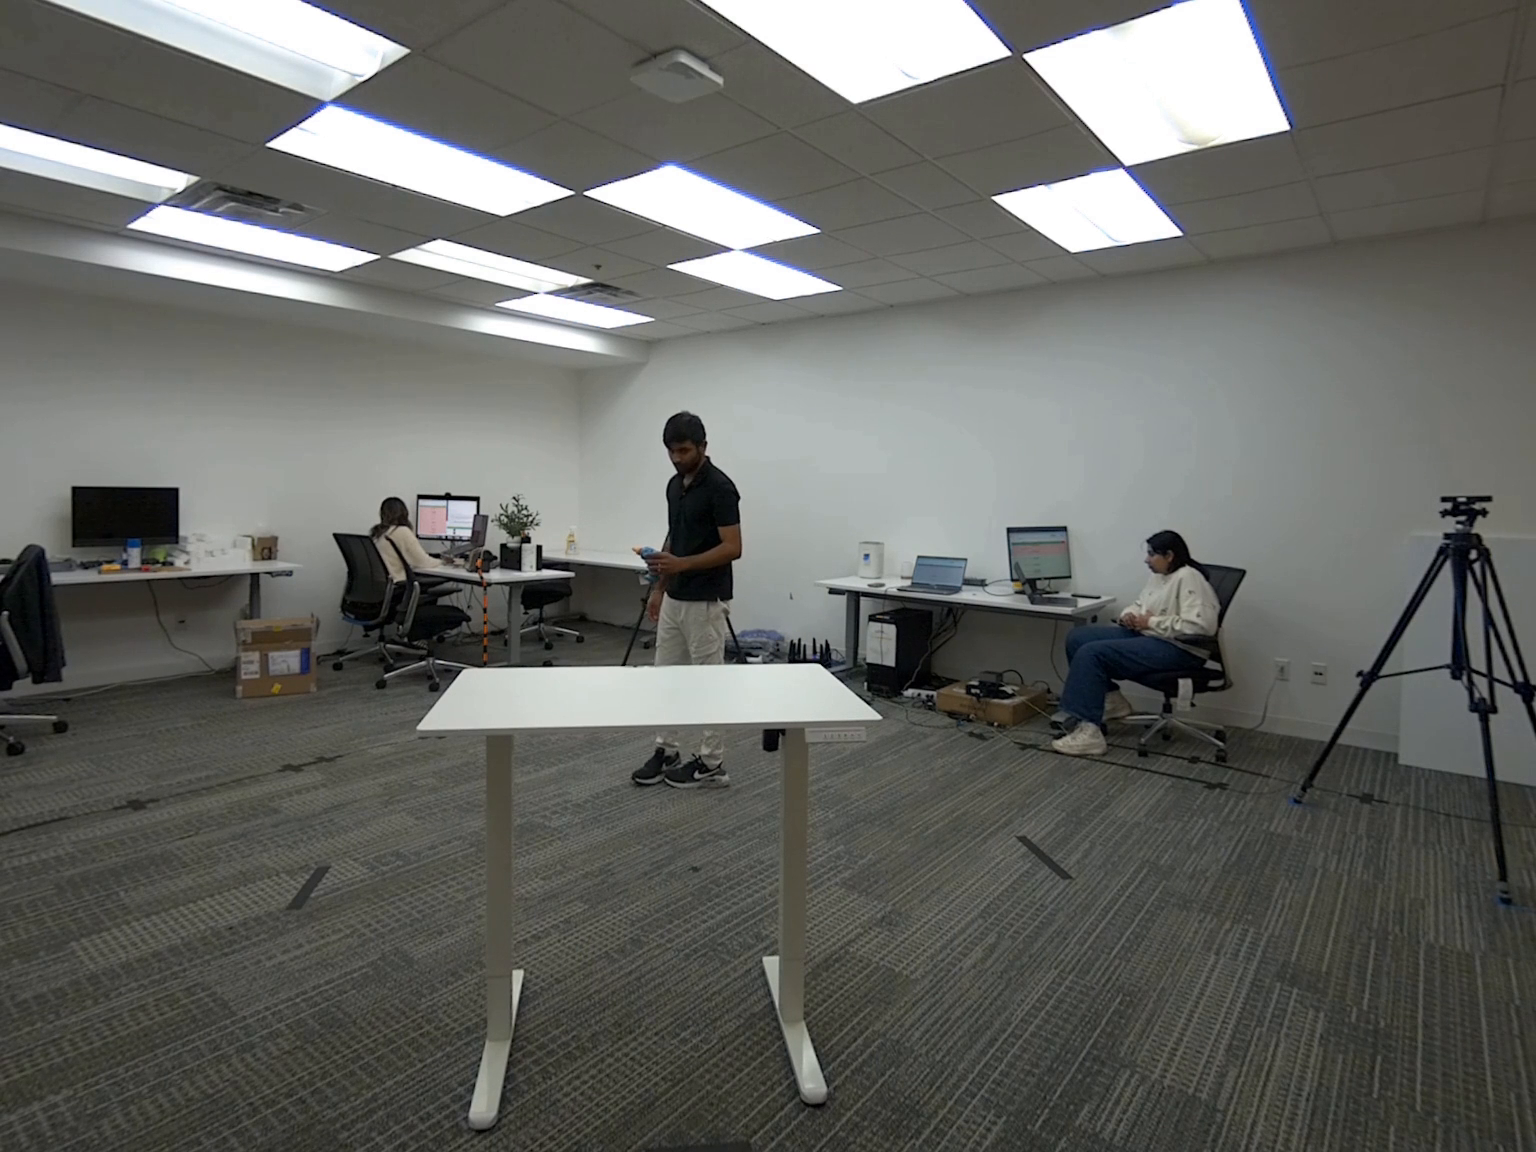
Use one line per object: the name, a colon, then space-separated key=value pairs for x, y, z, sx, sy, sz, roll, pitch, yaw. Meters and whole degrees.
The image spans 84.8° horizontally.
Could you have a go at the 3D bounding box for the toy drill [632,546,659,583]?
toy drill: x=-0.548 y=-0.076 z=3.737 sx=0.175 sy=0.143 sz=0.061 roll=16 pitch=30 yaw=25
